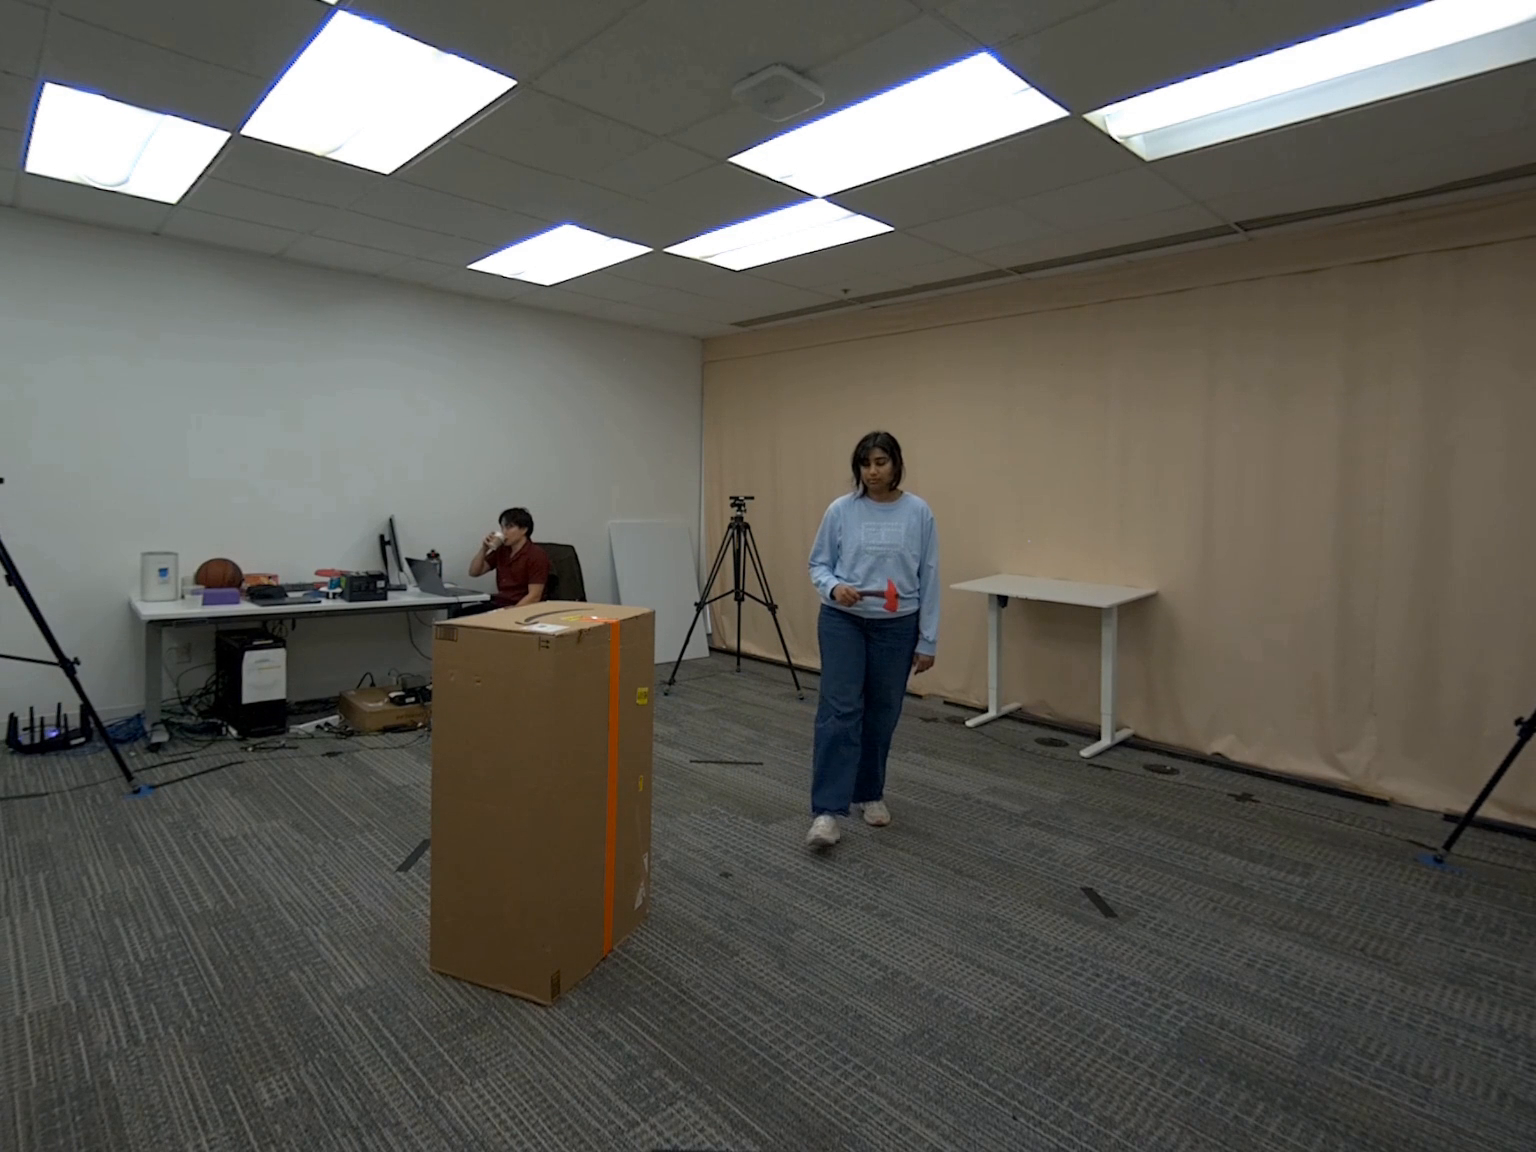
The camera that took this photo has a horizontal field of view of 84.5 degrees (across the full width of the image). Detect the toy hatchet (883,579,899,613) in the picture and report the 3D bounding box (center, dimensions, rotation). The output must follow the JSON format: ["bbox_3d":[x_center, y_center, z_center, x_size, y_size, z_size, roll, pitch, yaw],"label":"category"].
[{"bbox_3d":[0.405,0.098,3.303,0.029,0.132,0.271,-25,-5,-31],"label":"toy hatchet"}]
